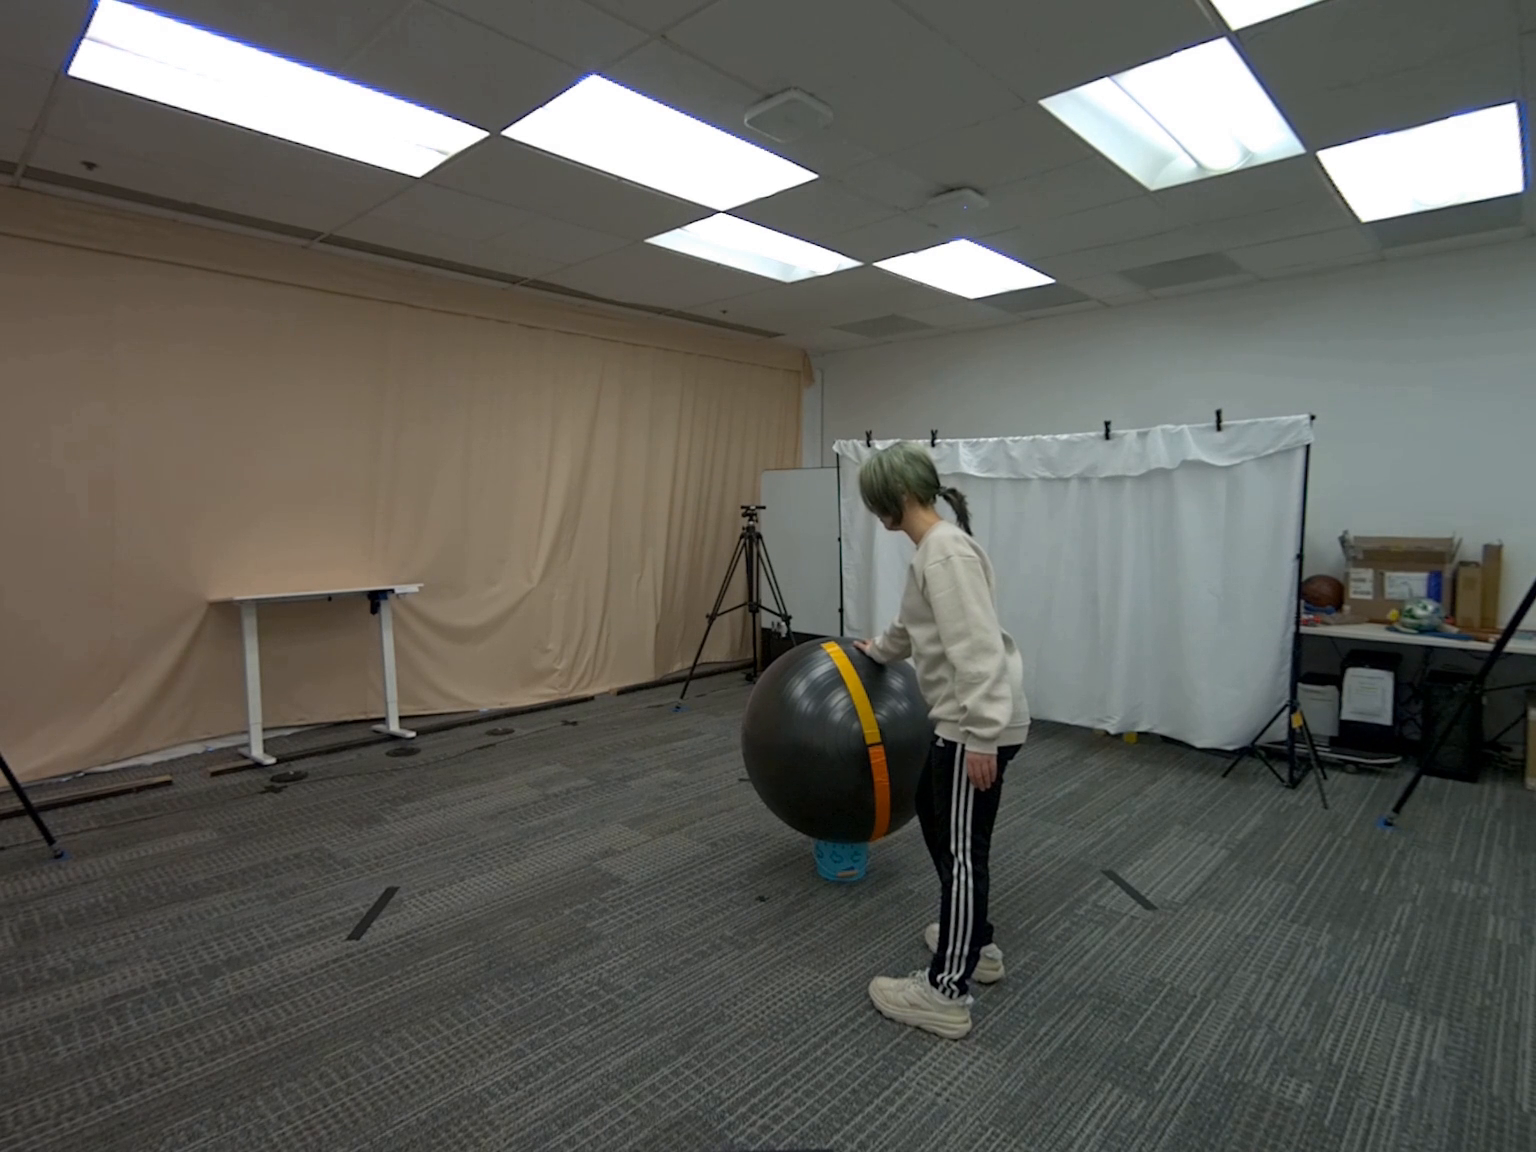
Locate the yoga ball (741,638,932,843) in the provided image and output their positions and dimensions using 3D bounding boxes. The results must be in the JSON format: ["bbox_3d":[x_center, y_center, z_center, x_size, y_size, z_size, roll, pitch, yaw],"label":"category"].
[{"bbox_3d":[0.280,0.616,3.181,0.757,0.756,0.760,0,4,-2],"label":"yoga ball"}]
